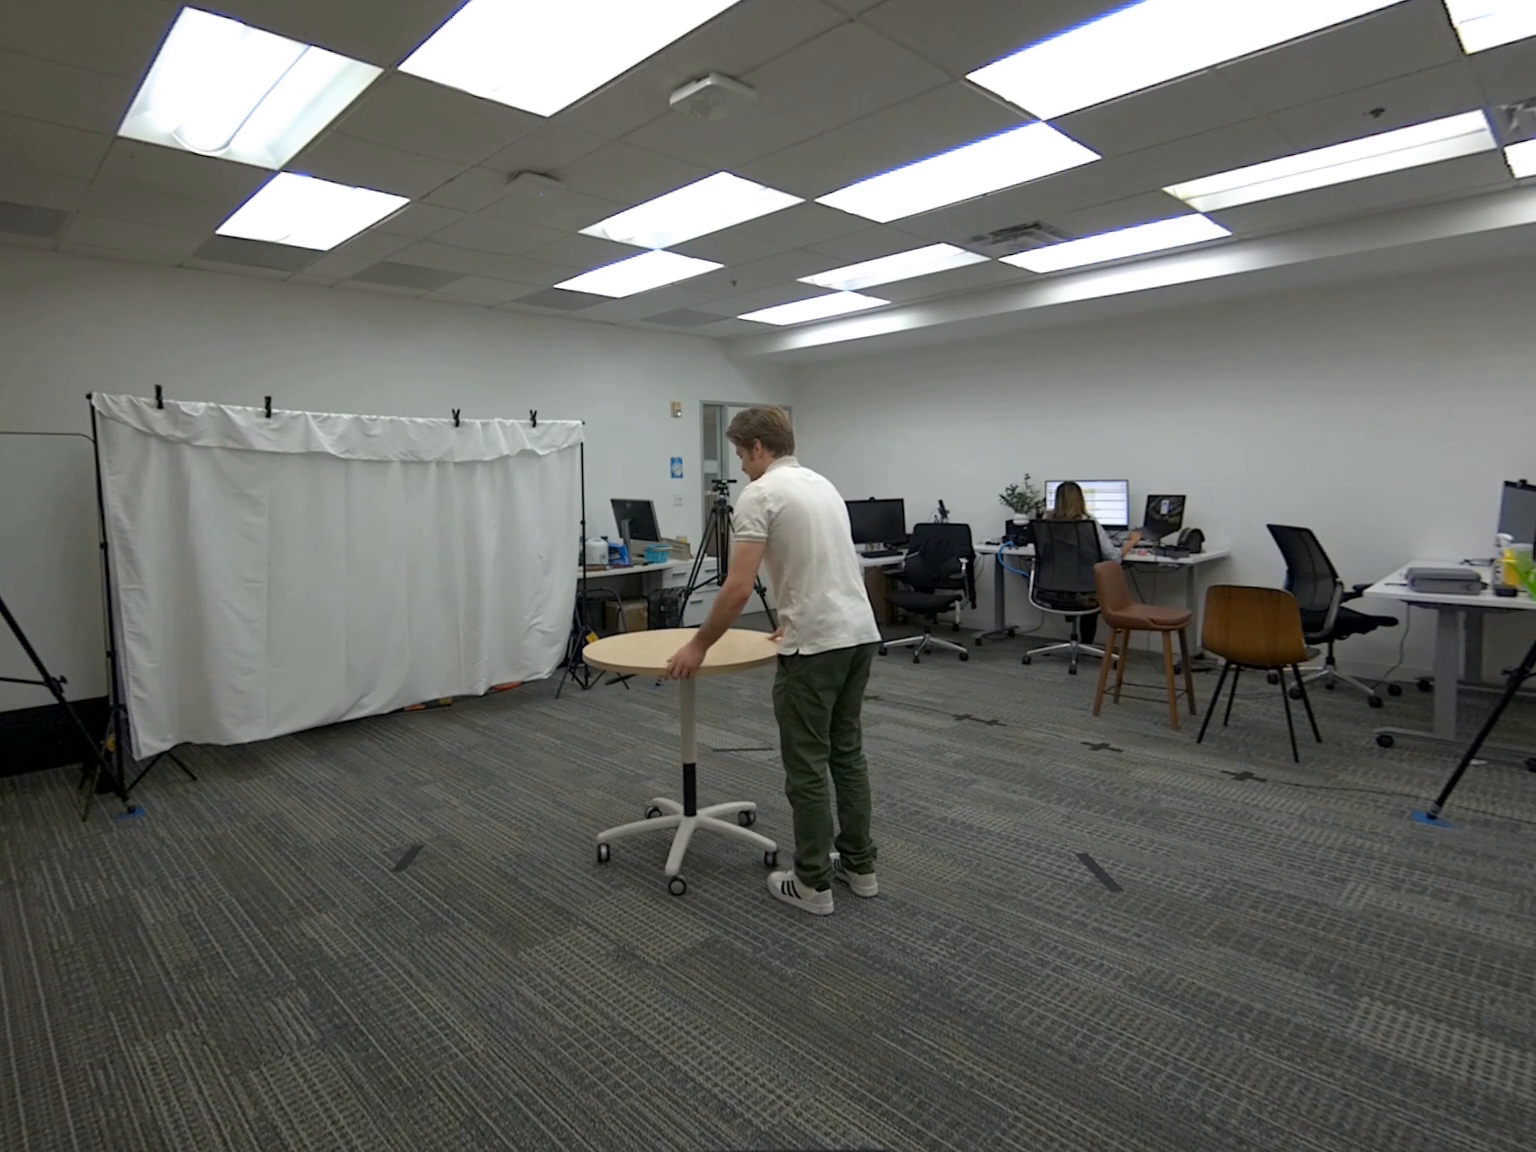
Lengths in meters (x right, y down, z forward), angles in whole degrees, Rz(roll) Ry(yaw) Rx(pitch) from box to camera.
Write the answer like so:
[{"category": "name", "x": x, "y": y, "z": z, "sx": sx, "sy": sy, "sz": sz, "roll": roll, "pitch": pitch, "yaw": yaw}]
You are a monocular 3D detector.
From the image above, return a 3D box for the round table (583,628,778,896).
[{"category": "round table", "x": -0.291, "y": 0.651, "z": 3.211, "sx": 0.763, "sy": 0.791, "sz": 0.767, "roll": -1, "pitch": 4, "yaw": -2}]
